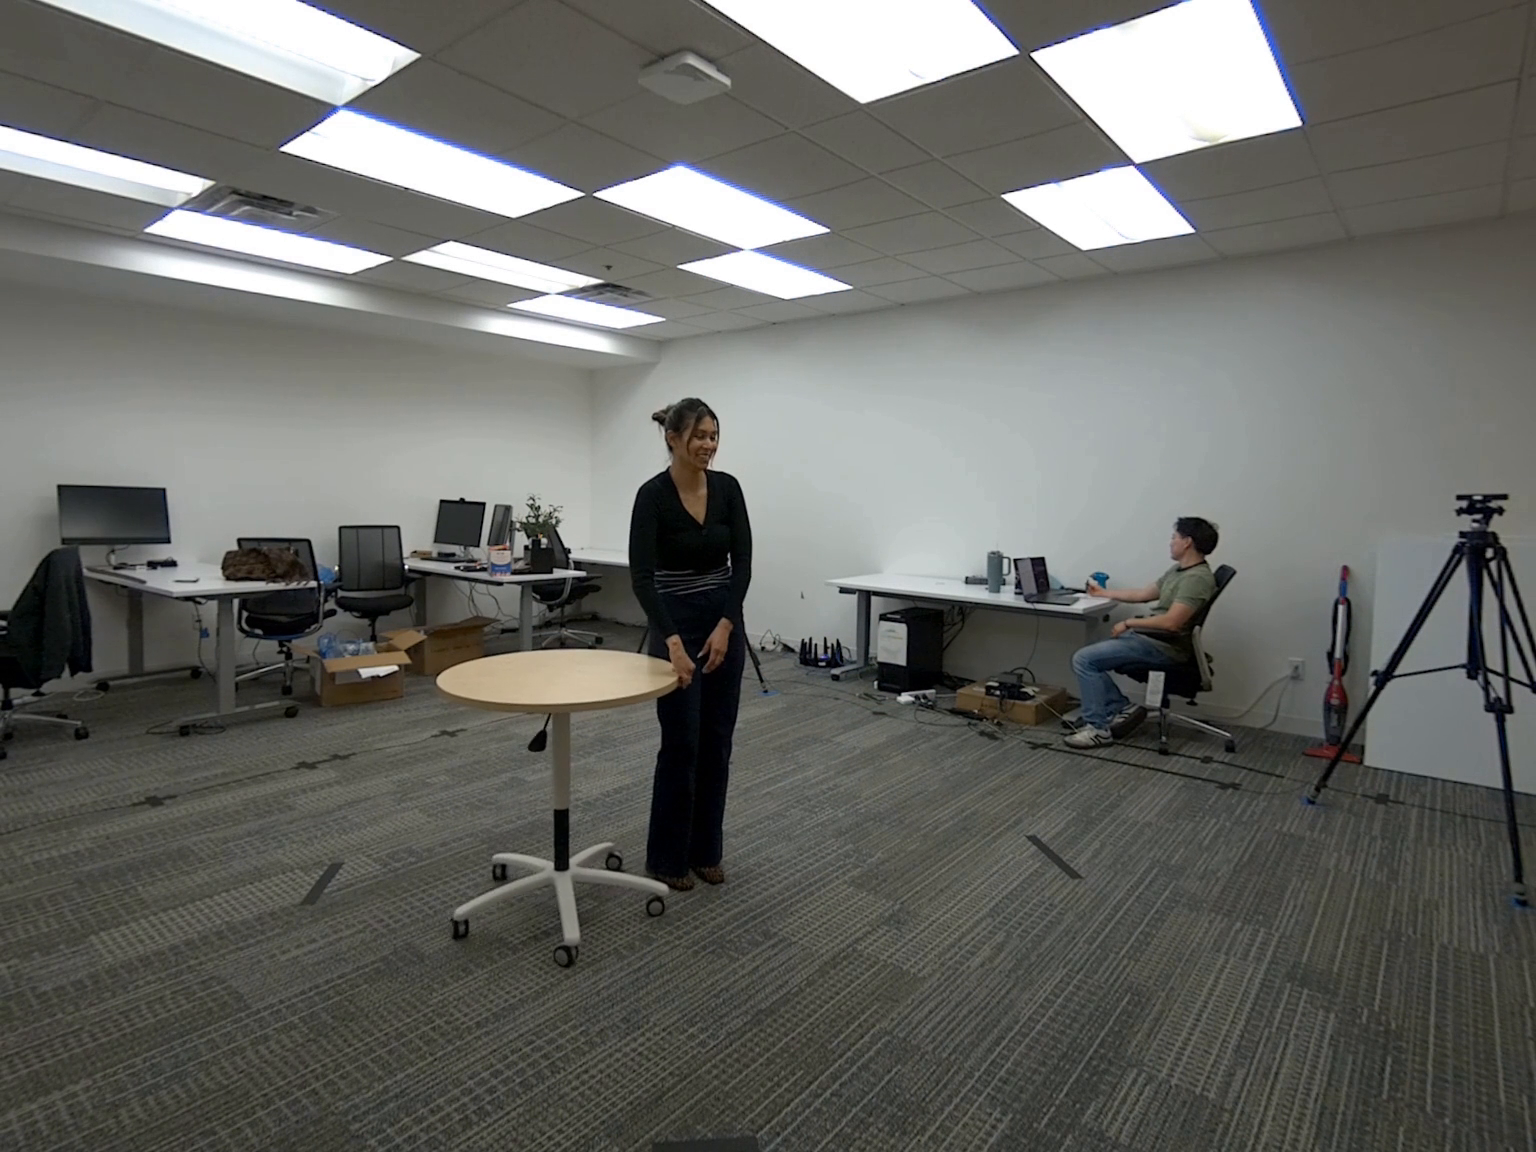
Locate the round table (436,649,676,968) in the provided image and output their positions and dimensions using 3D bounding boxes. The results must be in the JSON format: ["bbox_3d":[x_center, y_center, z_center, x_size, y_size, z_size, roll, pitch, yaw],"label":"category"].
[{"bbox_3d":[-0.684,0.706,2.760,0.763,0.791,0.768,0,5,-2],"label":"round table"}]
